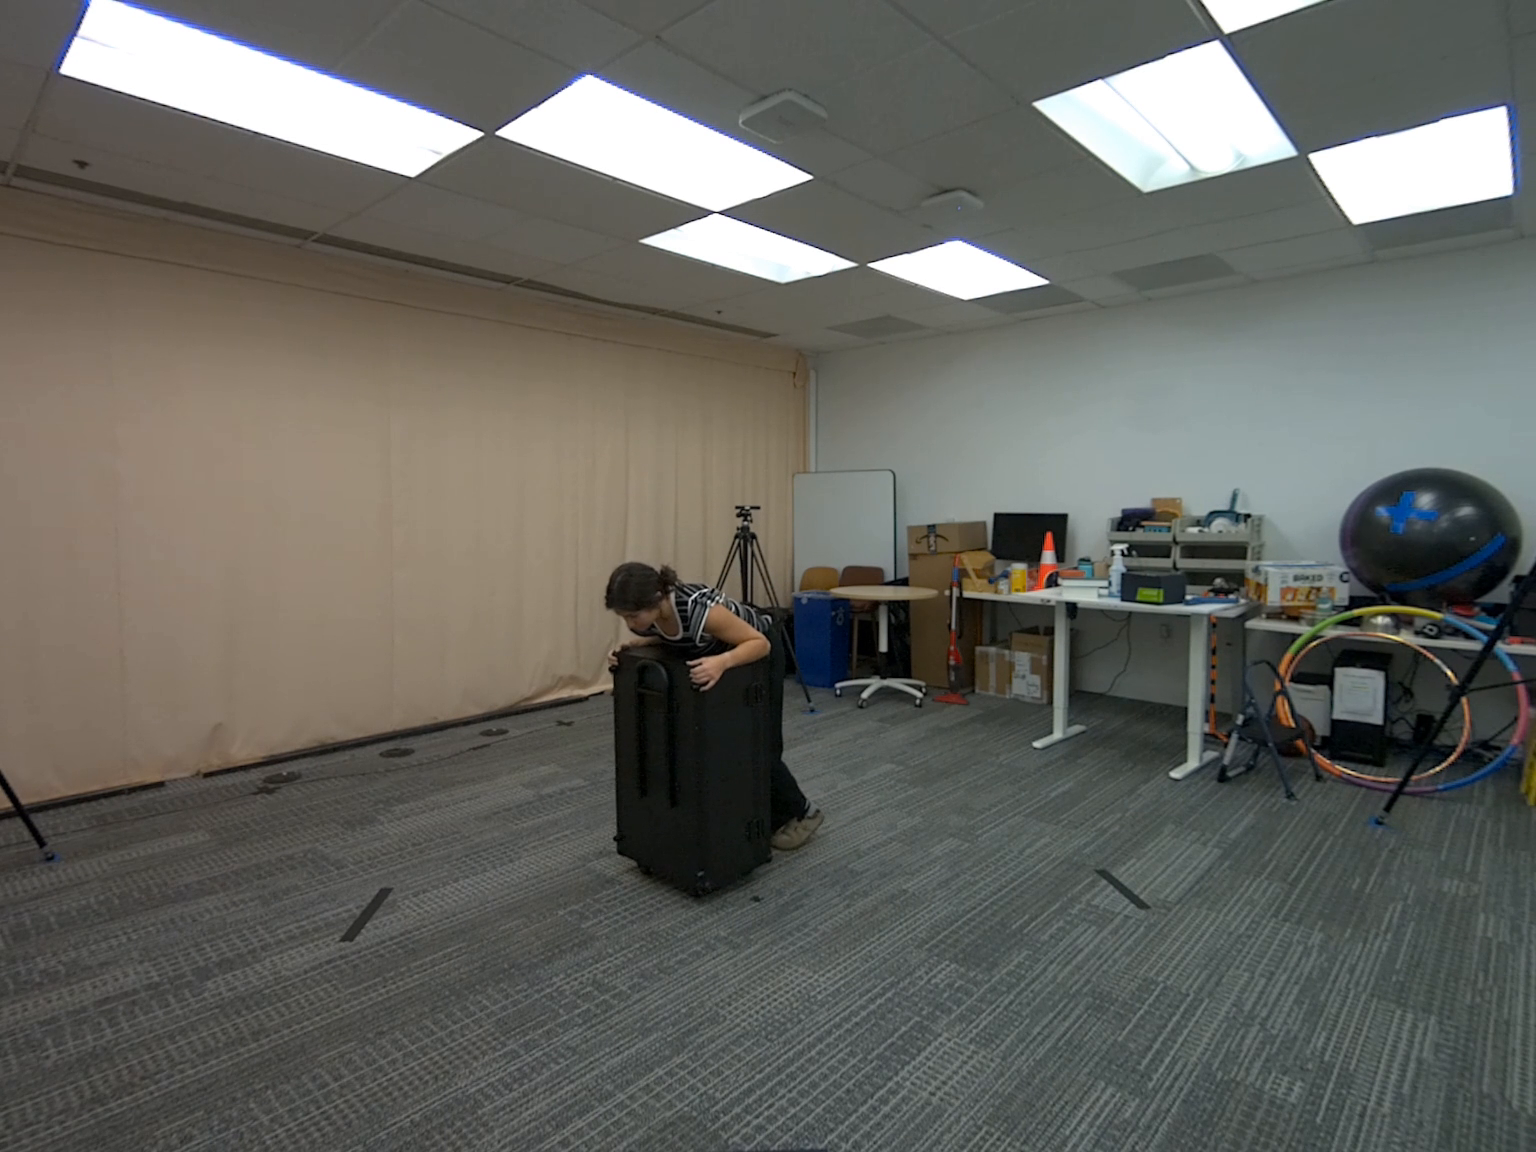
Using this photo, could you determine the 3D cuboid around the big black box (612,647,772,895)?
[{"bbox_3d":[-0.292,0.720,3.139,0.538,0.859,0.384,2,6,44],"label":"big black box"}]
